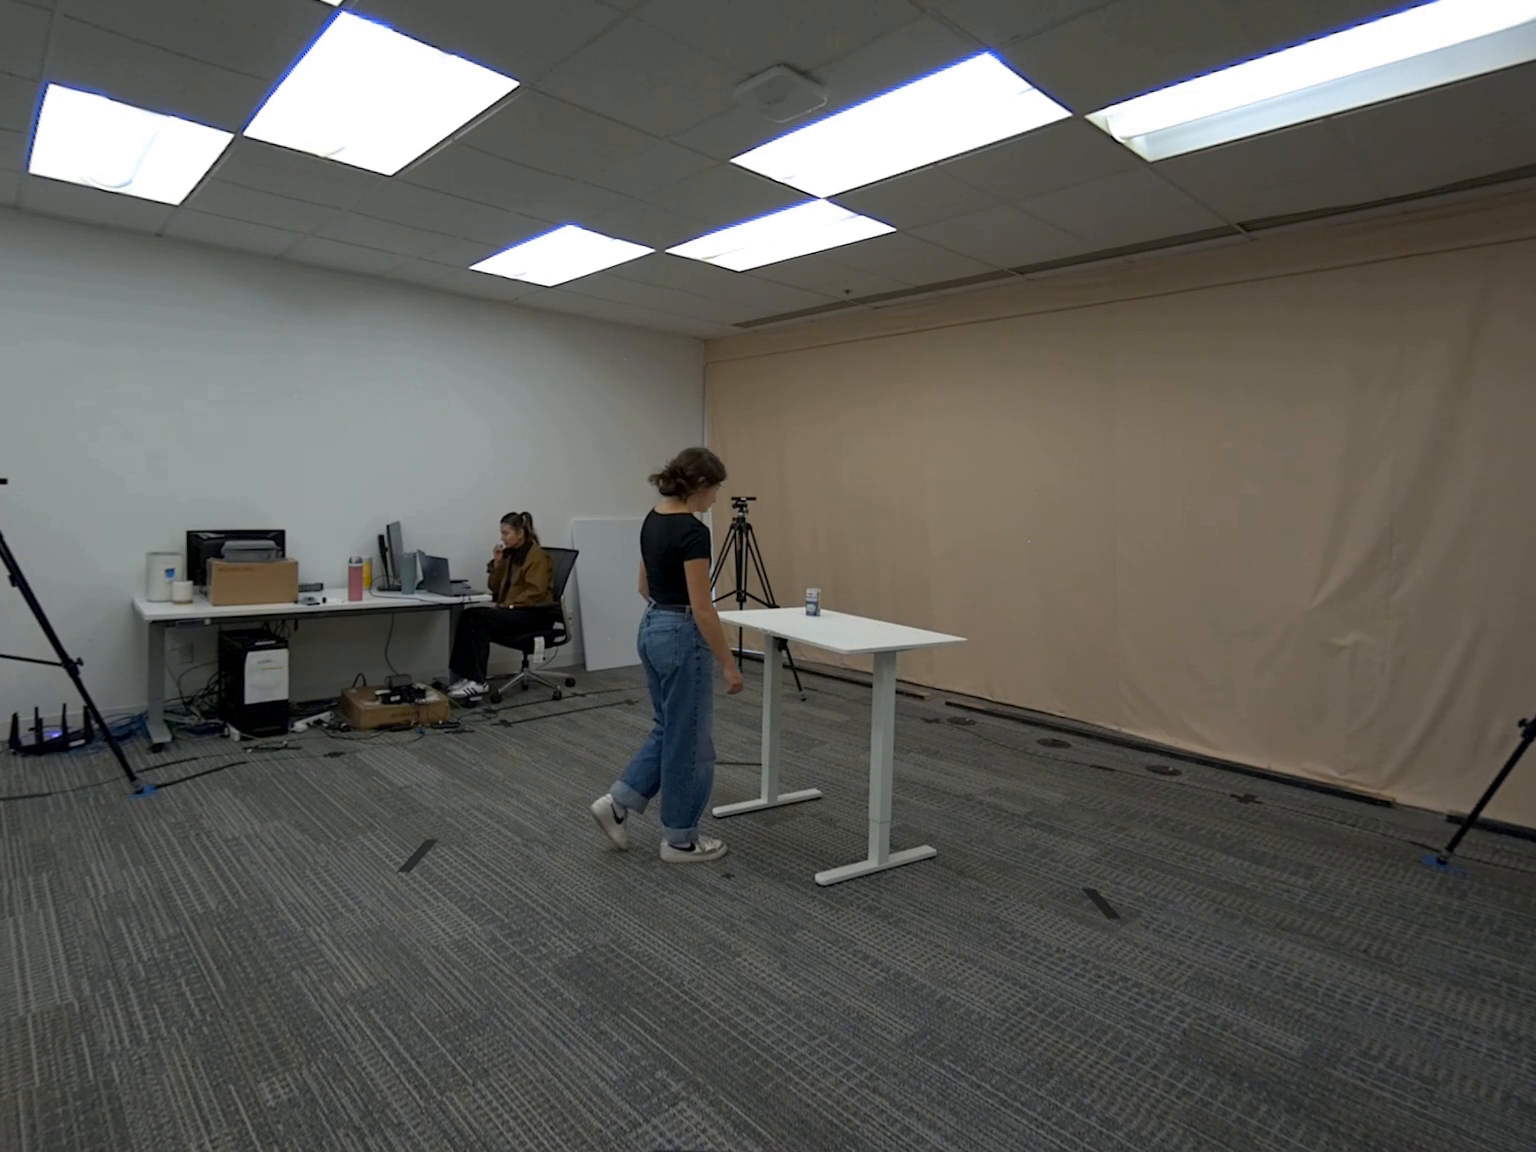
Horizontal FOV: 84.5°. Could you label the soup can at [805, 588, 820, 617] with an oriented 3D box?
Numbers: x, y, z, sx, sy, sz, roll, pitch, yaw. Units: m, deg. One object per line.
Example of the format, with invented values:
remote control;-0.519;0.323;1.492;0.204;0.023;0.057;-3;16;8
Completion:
soup can;0.193;0.119;3.755;0.067;0.121;0.067;1;0;-1
